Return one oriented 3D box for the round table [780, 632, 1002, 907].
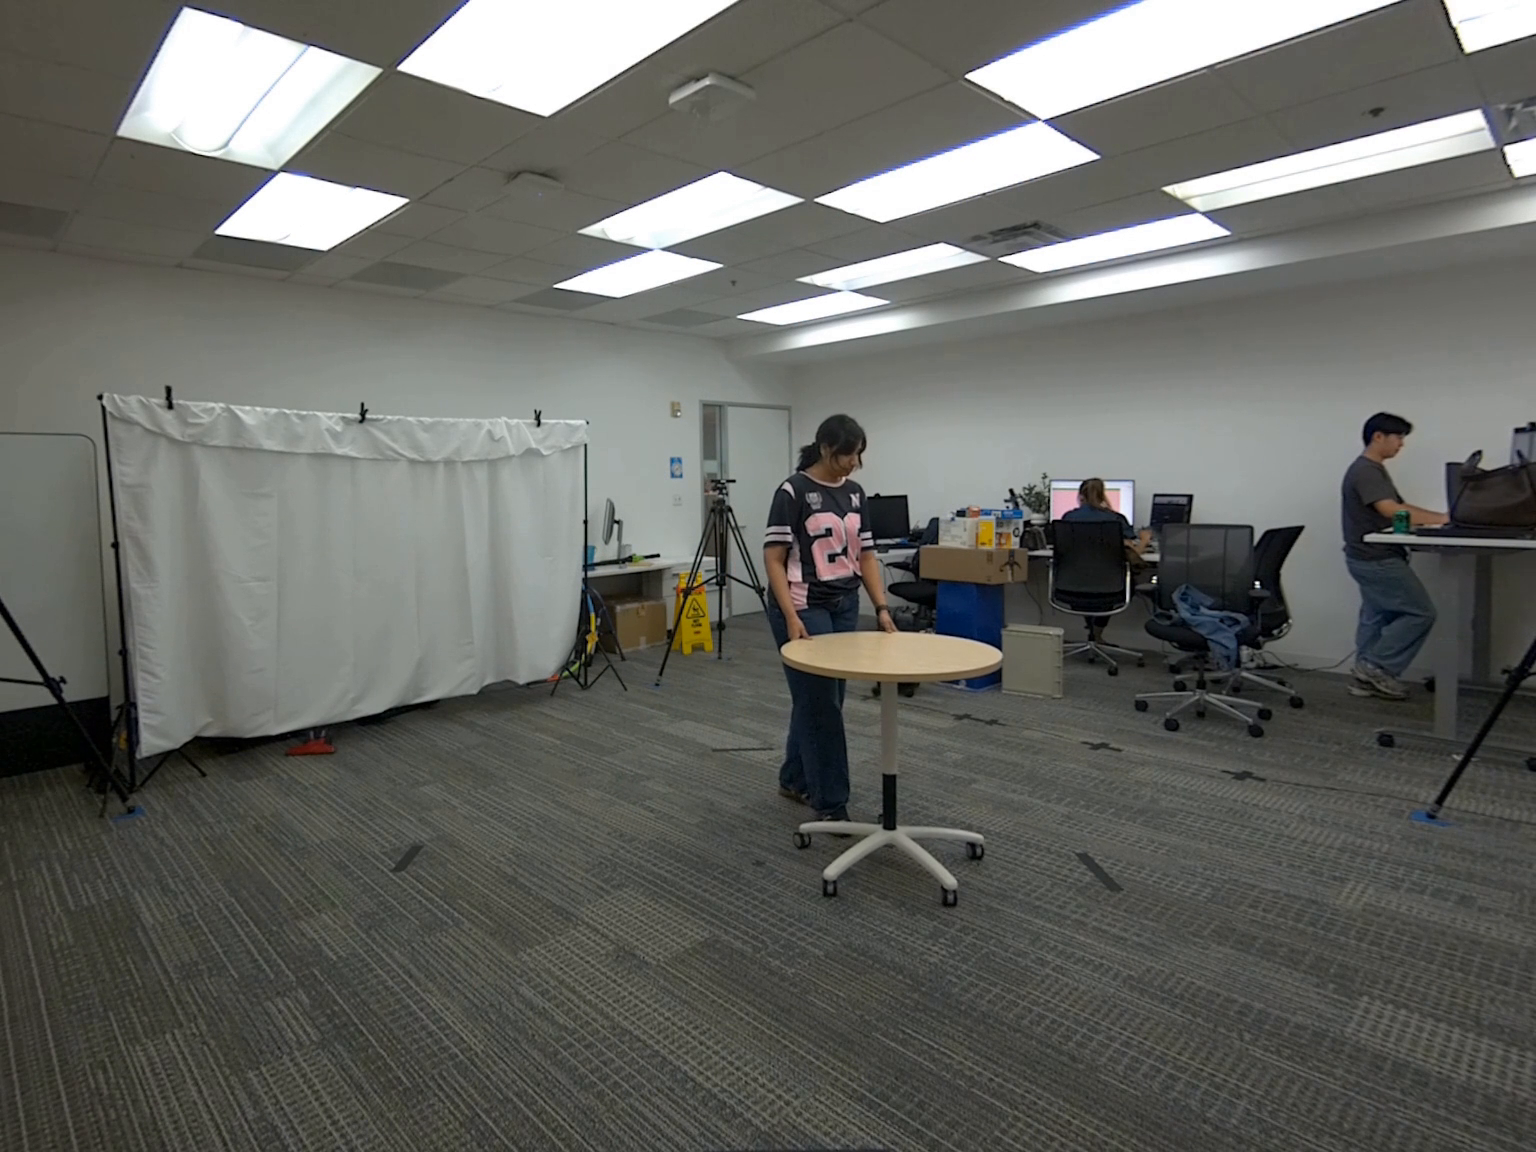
[{"bbox_3d":[0.431,0.658,3.041,0.763,0.791,0.768,-1,4,-2],"label":"round table"}]
